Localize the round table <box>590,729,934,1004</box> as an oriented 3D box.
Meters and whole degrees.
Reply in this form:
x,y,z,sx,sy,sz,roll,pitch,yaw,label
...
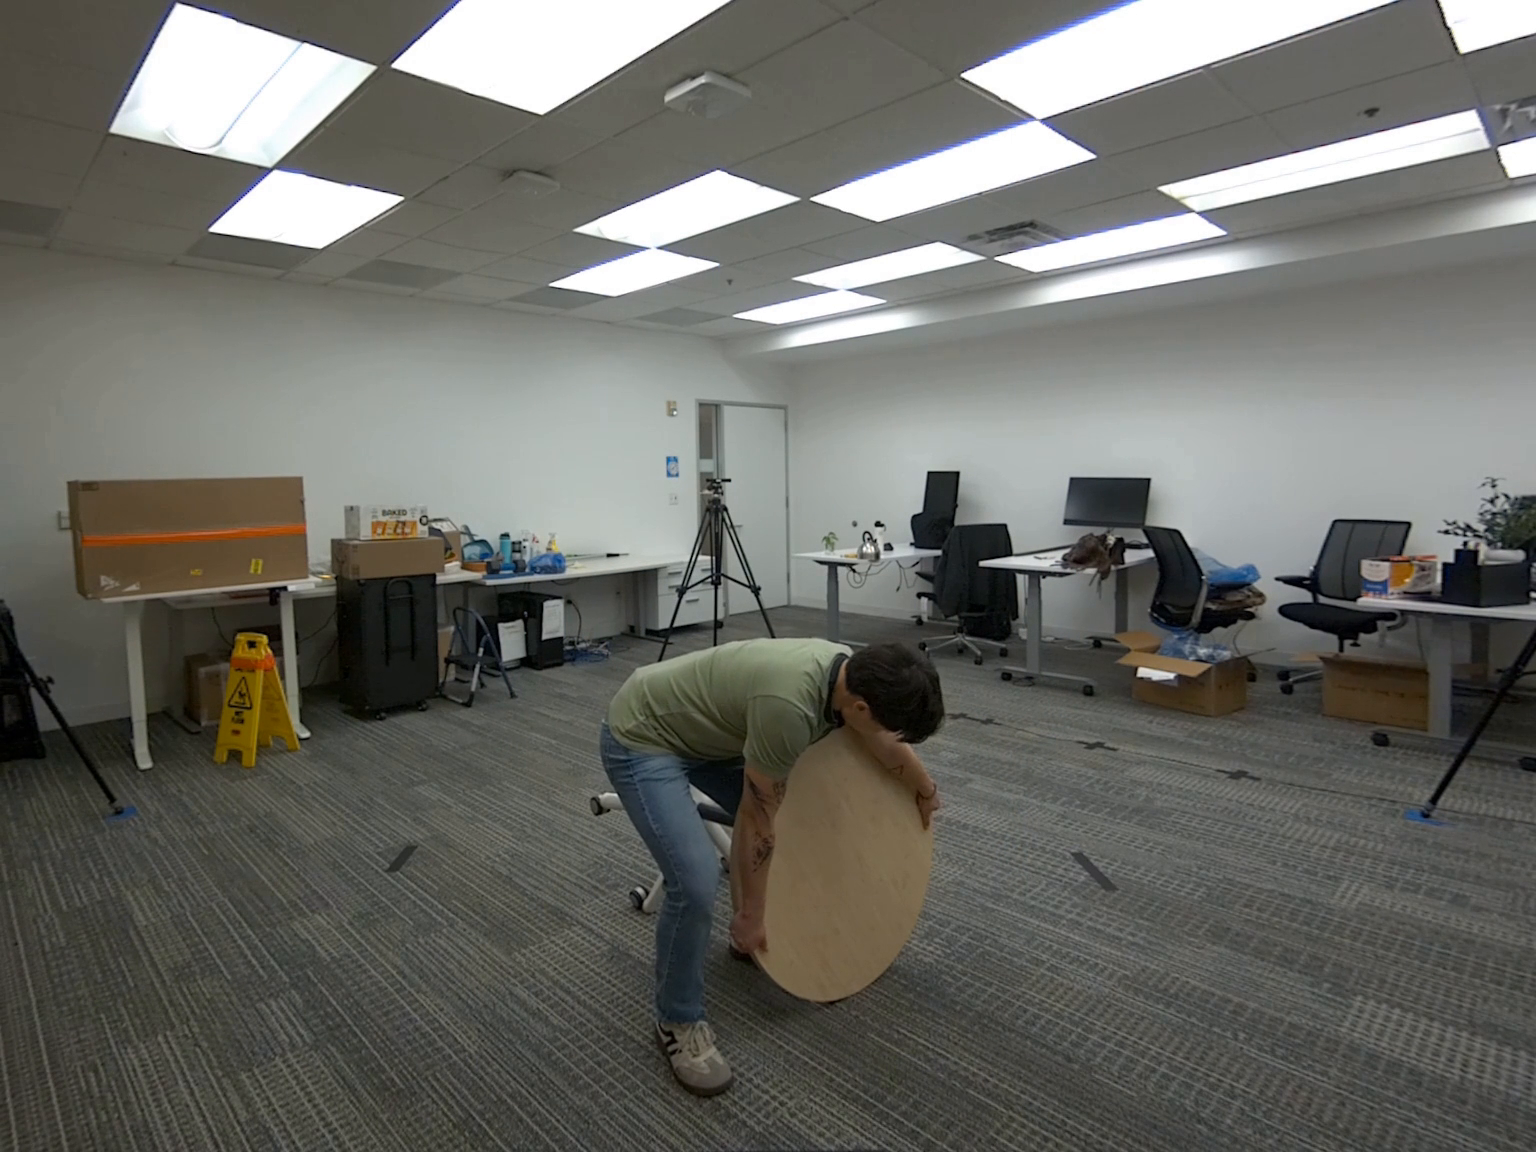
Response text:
x,y,z,sx,sy,sz,roll,pitch,yaw,label
-0.045,0.767,2.654,0.744,0.765,0.814,-5,0,-40,round table
